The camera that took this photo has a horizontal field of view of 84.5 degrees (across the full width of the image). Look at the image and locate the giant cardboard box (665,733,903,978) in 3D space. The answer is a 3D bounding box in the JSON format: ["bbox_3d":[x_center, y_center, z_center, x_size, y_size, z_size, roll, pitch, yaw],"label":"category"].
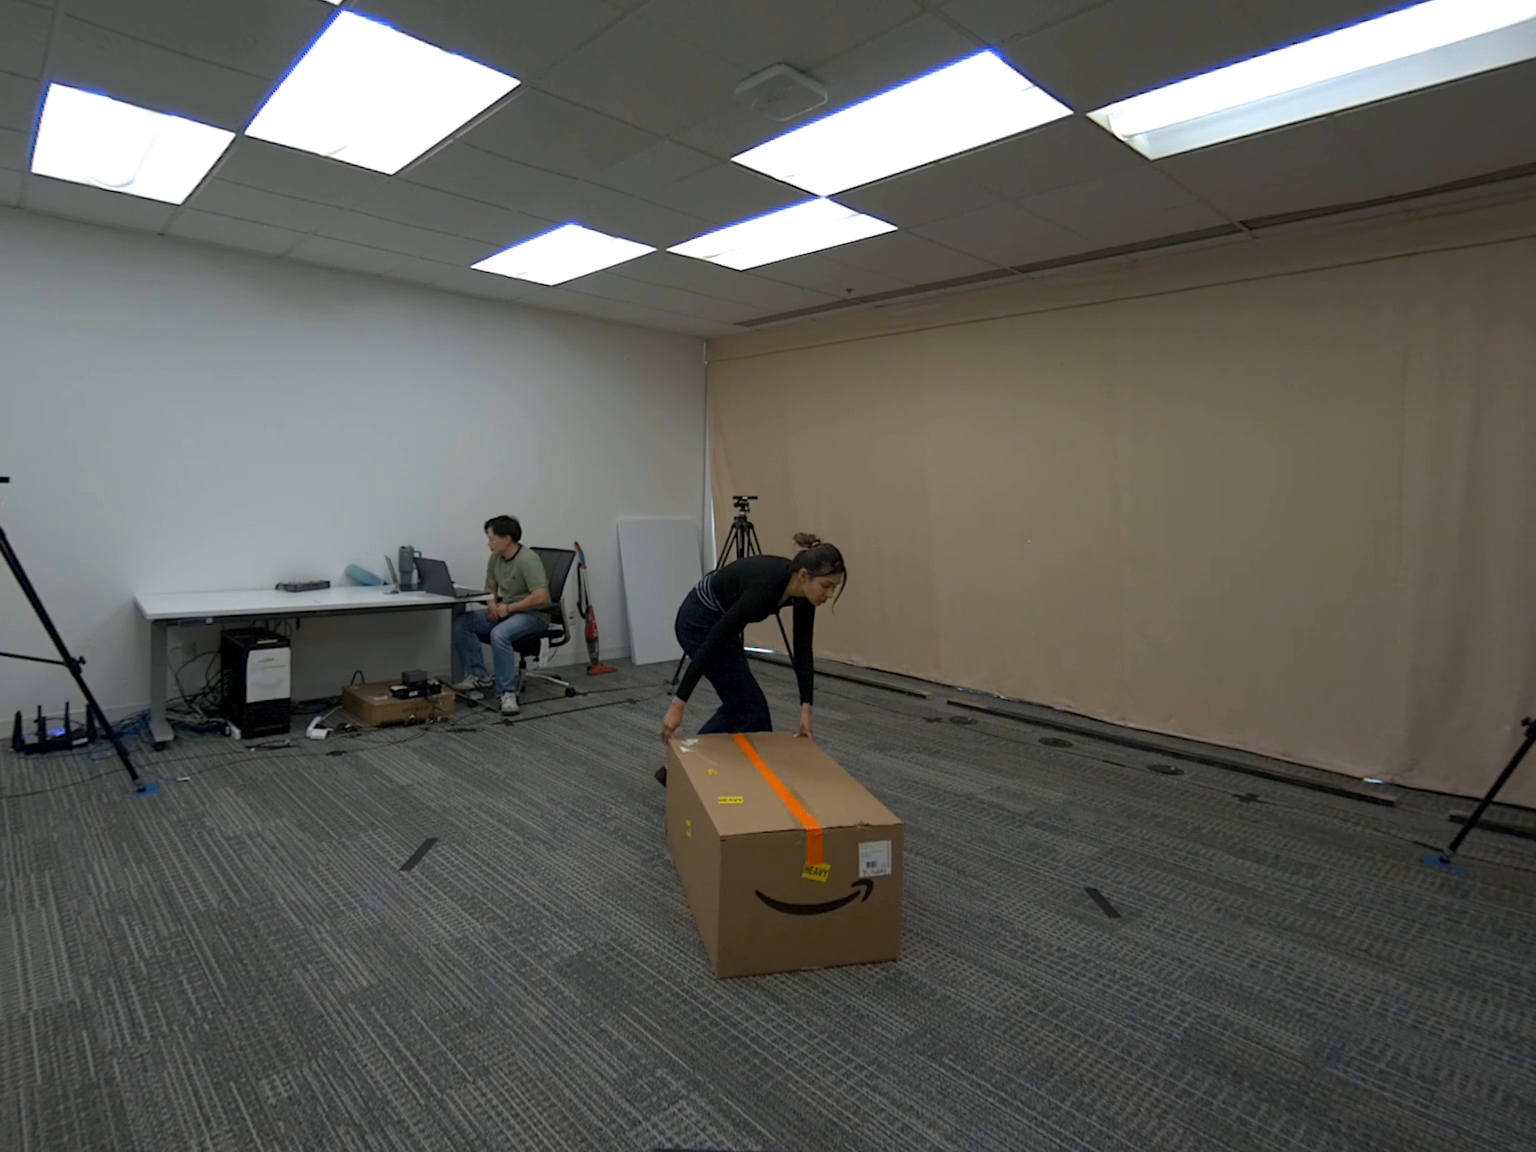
[{"bbox_3d":[-0.007,0.903,2.972,0.571,0.425,1.040,0,5,-15],"label":"giant cardboard box"}]
